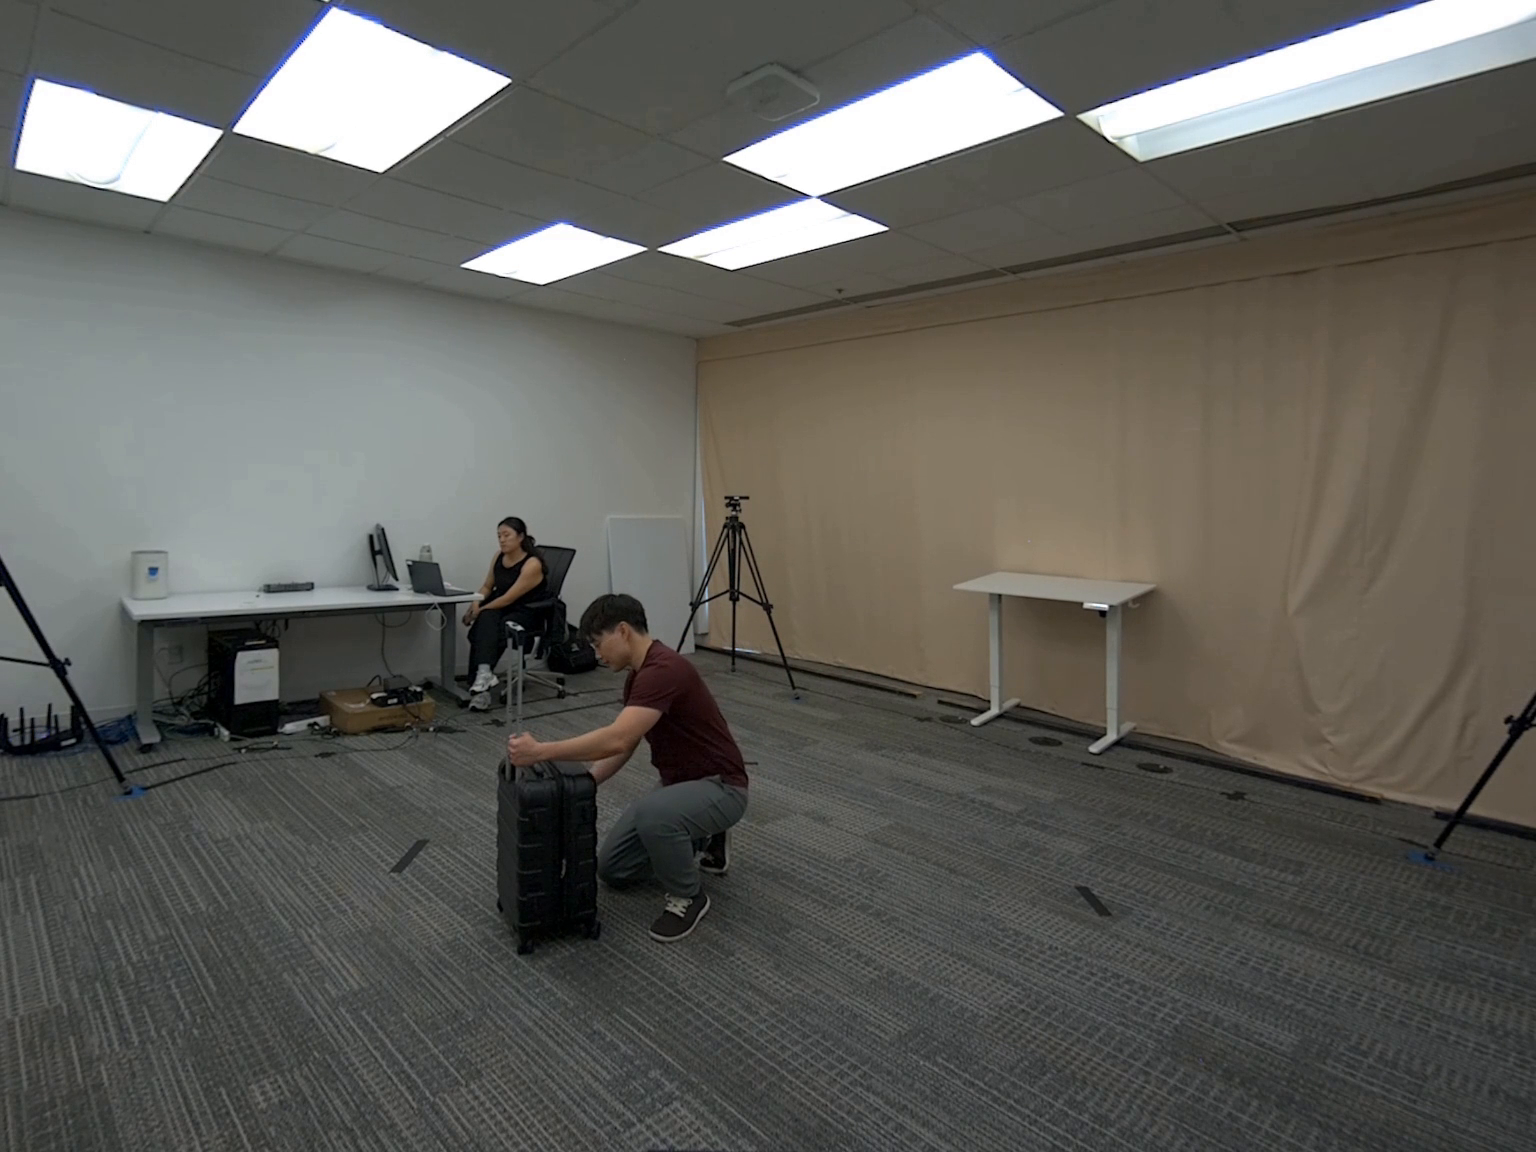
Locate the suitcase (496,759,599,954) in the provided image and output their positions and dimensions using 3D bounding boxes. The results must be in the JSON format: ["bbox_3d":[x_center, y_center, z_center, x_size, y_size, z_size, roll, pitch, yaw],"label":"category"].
[{"bbox_3d":[-0.704,0.644,2.681,0.252,0.976,0.393,0,5,-28],"label":"suitcase"}]
